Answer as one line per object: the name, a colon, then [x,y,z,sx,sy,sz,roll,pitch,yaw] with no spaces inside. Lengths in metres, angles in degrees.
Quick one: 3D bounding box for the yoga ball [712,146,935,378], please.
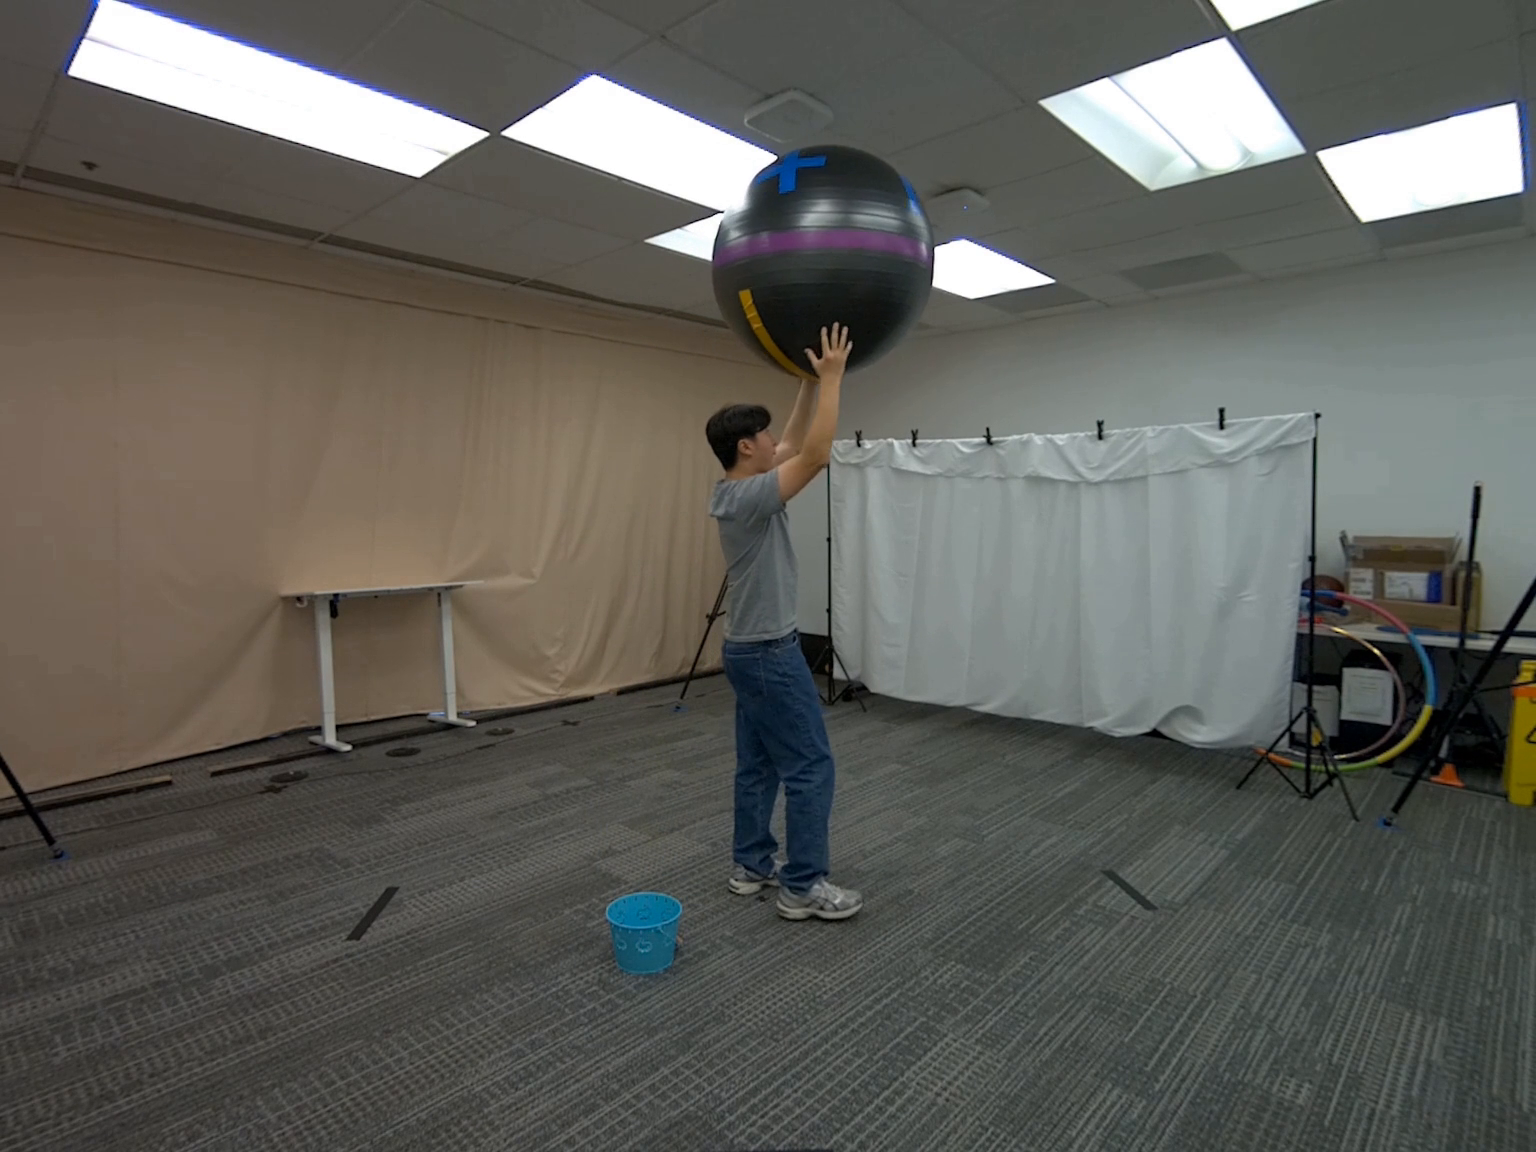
yoga ball: [0.190,-1.047,2.895,0.757,0.756,0.761,0,4,-2]
